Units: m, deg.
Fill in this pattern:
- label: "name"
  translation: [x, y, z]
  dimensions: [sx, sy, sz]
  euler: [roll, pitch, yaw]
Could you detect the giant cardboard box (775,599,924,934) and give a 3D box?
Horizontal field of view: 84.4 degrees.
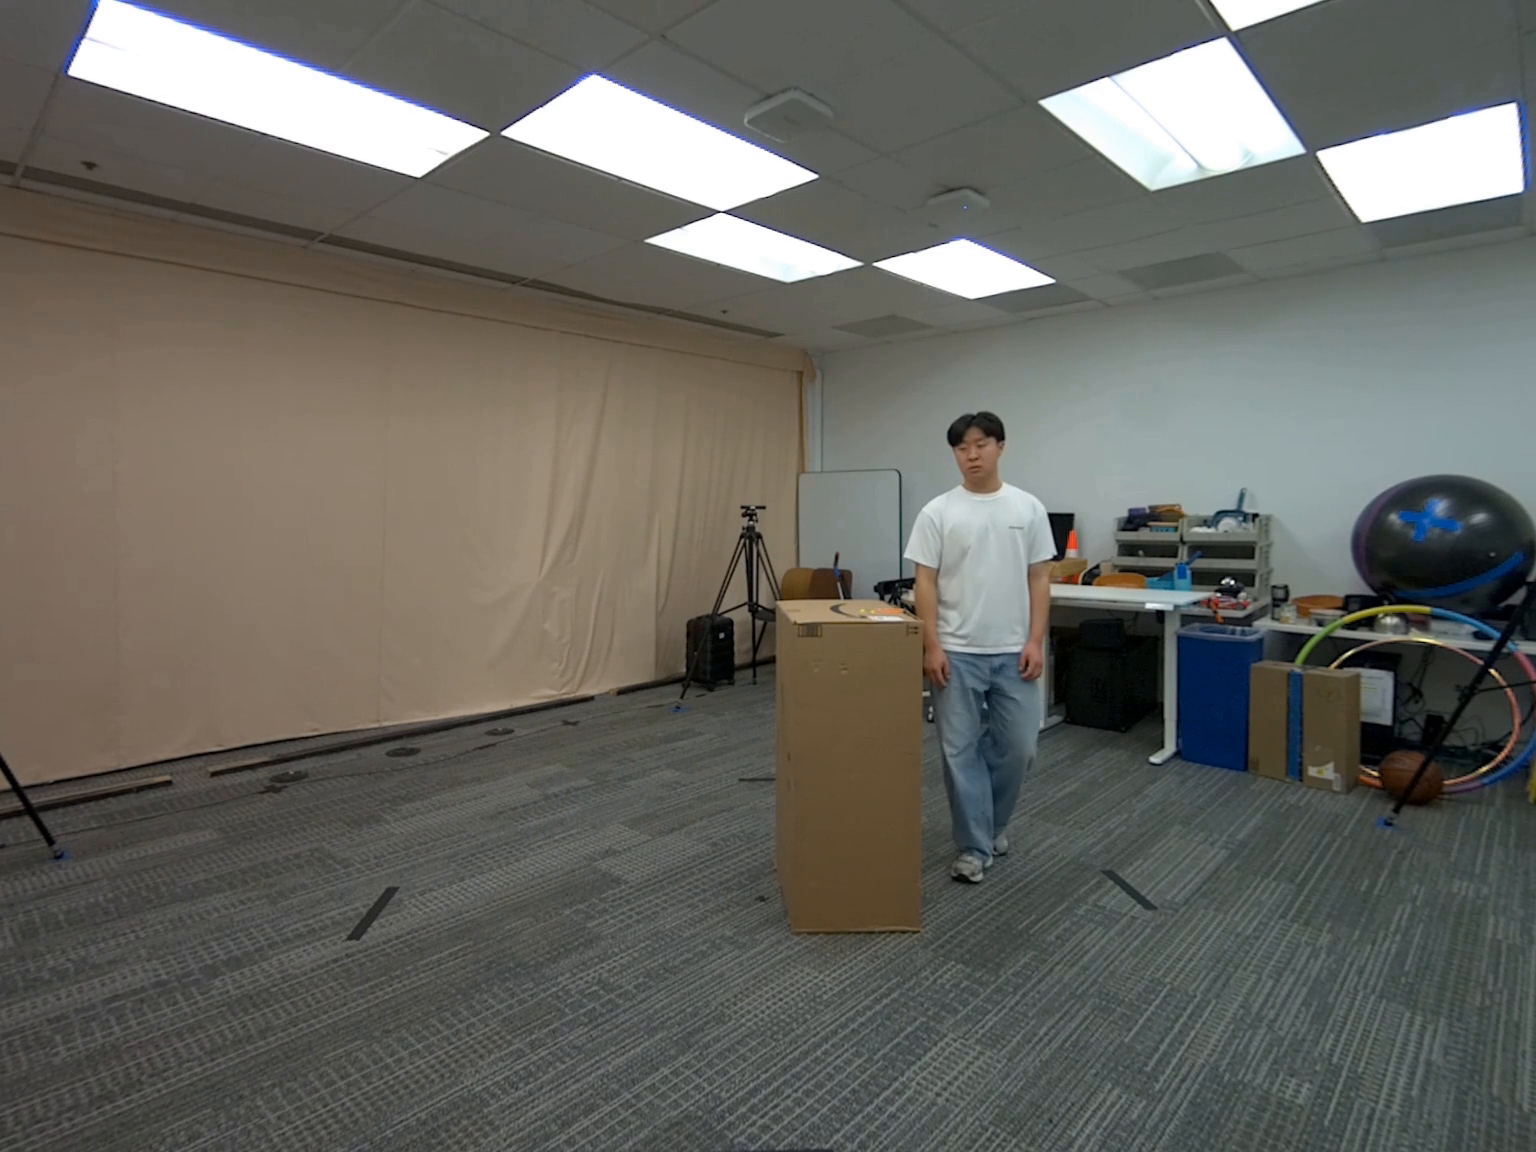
- label: "giant cardboard box"
  translation: [0.269, 0.633, 2.992]
  dimensions: [0.425, 1.024, 0.581]
  euler: [0, 3, -5]
